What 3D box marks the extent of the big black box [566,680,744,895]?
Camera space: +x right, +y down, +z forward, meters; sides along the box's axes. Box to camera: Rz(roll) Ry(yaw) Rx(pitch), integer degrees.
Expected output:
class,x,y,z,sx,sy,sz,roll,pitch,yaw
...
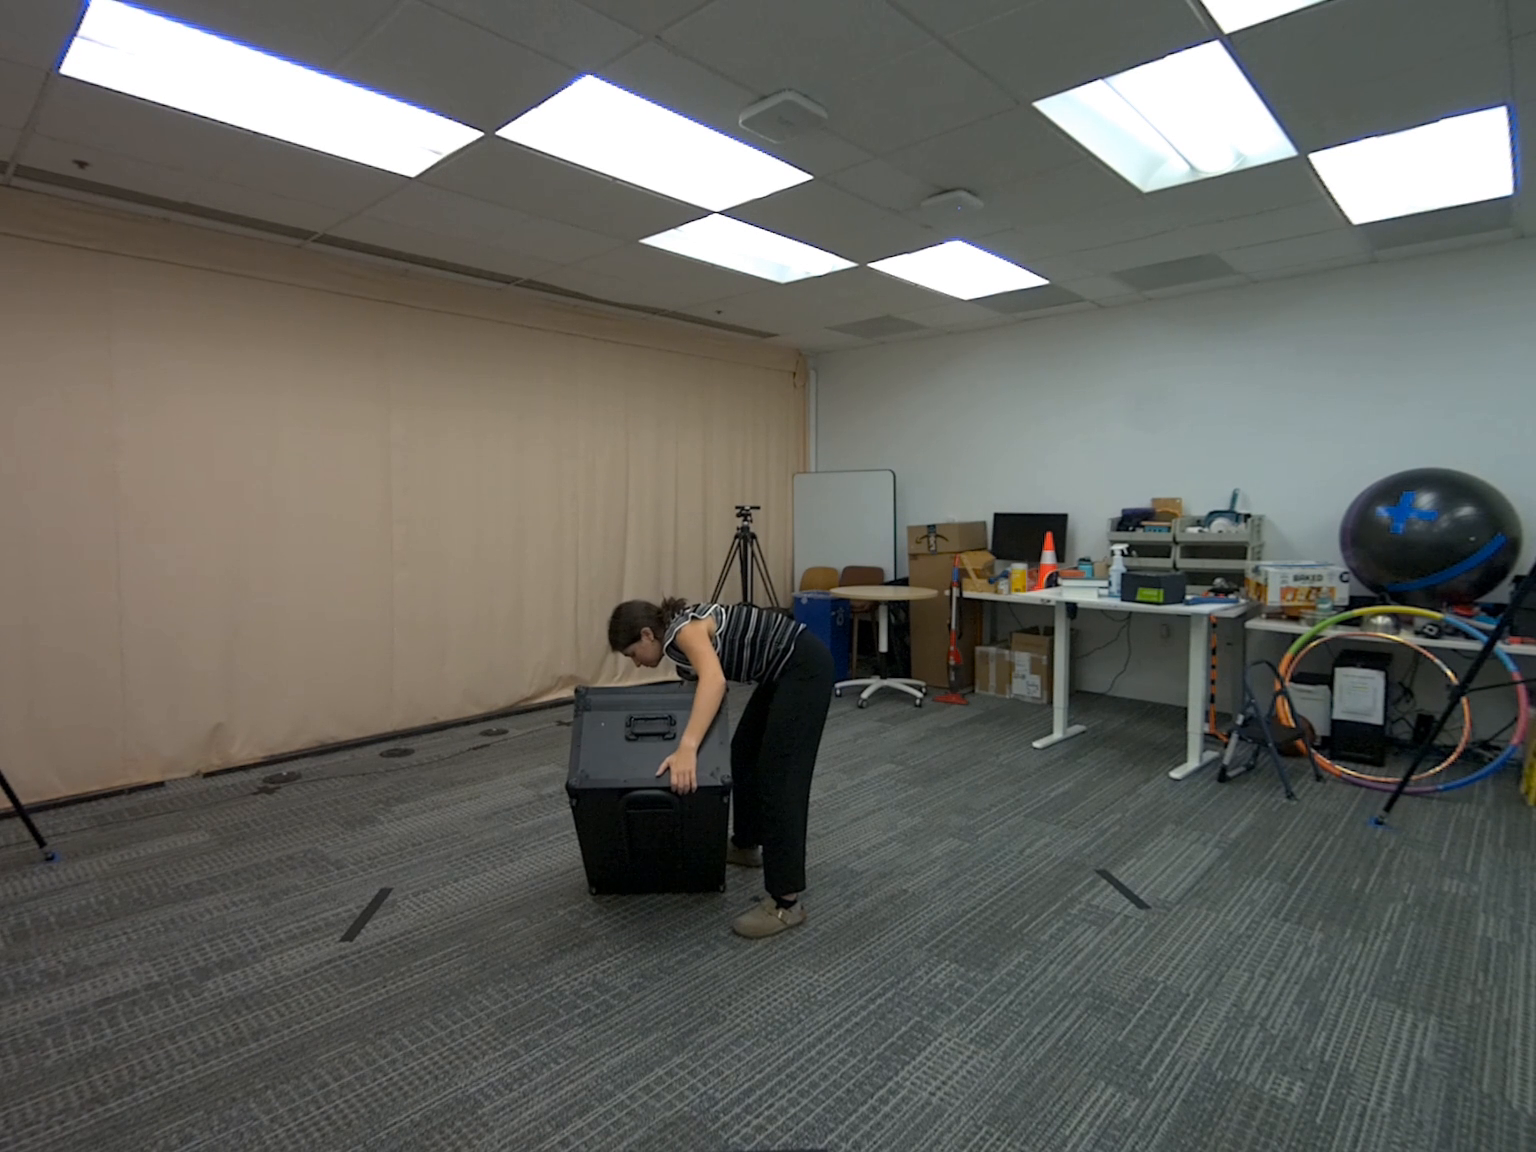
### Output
class,x,y,z,sx,sy,sz,roll,pitch,yaw
big black box,-0.385,0.766,2.854,0.520,0.847,0.404,1,46,-4
